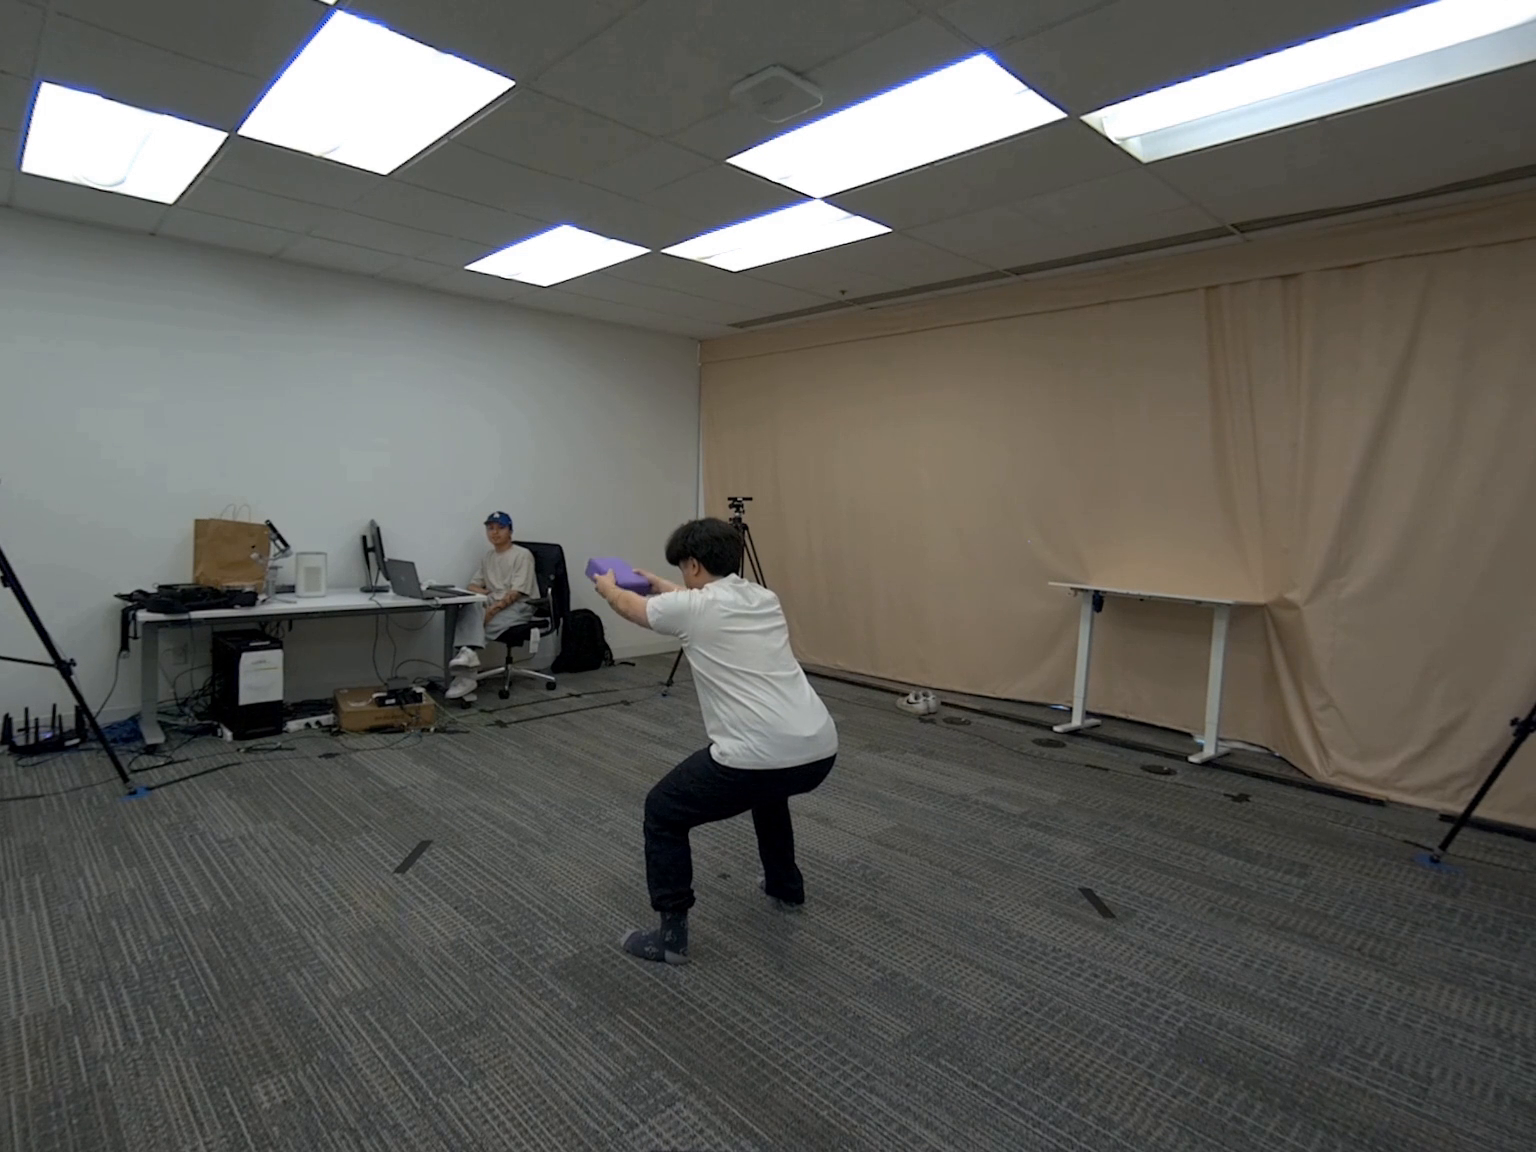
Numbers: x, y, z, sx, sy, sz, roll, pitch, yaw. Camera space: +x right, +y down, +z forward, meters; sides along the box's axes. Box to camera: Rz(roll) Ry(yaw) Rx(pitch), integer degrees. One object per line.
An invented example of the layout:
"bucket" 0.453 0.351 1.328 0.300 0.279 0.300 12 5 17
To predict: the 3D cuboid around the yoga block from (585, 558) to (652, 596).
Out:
"yoga block" -0.579 0.011 3.216 0.145 0.076 0.237 0 23 -43
